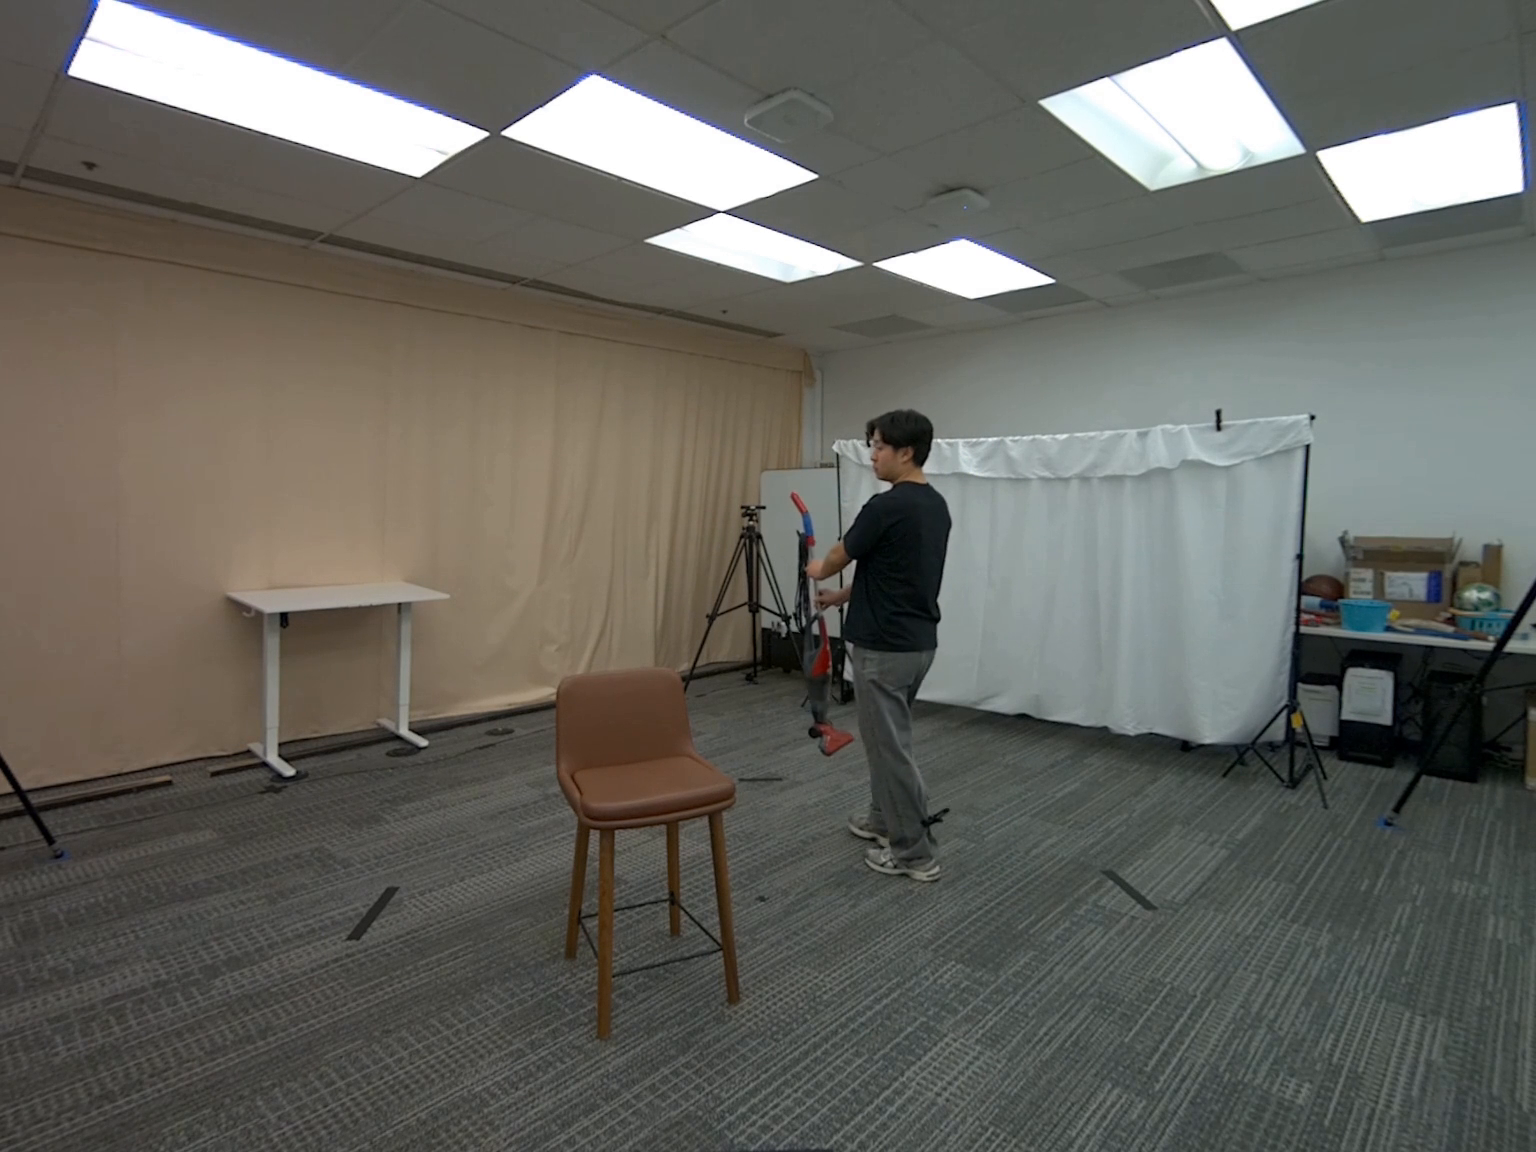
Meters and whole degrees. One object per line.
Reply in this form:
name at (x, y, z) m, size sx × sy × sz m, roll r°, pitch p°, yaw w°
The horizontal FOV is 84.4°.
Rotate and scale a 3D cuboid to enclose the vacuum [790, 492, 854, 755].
vacuum at (0.189, 0.167, 3.596) m, size 0.148 × 1.050 × 0.245 m, roll -9°, pitch -1°, yaw 39°
